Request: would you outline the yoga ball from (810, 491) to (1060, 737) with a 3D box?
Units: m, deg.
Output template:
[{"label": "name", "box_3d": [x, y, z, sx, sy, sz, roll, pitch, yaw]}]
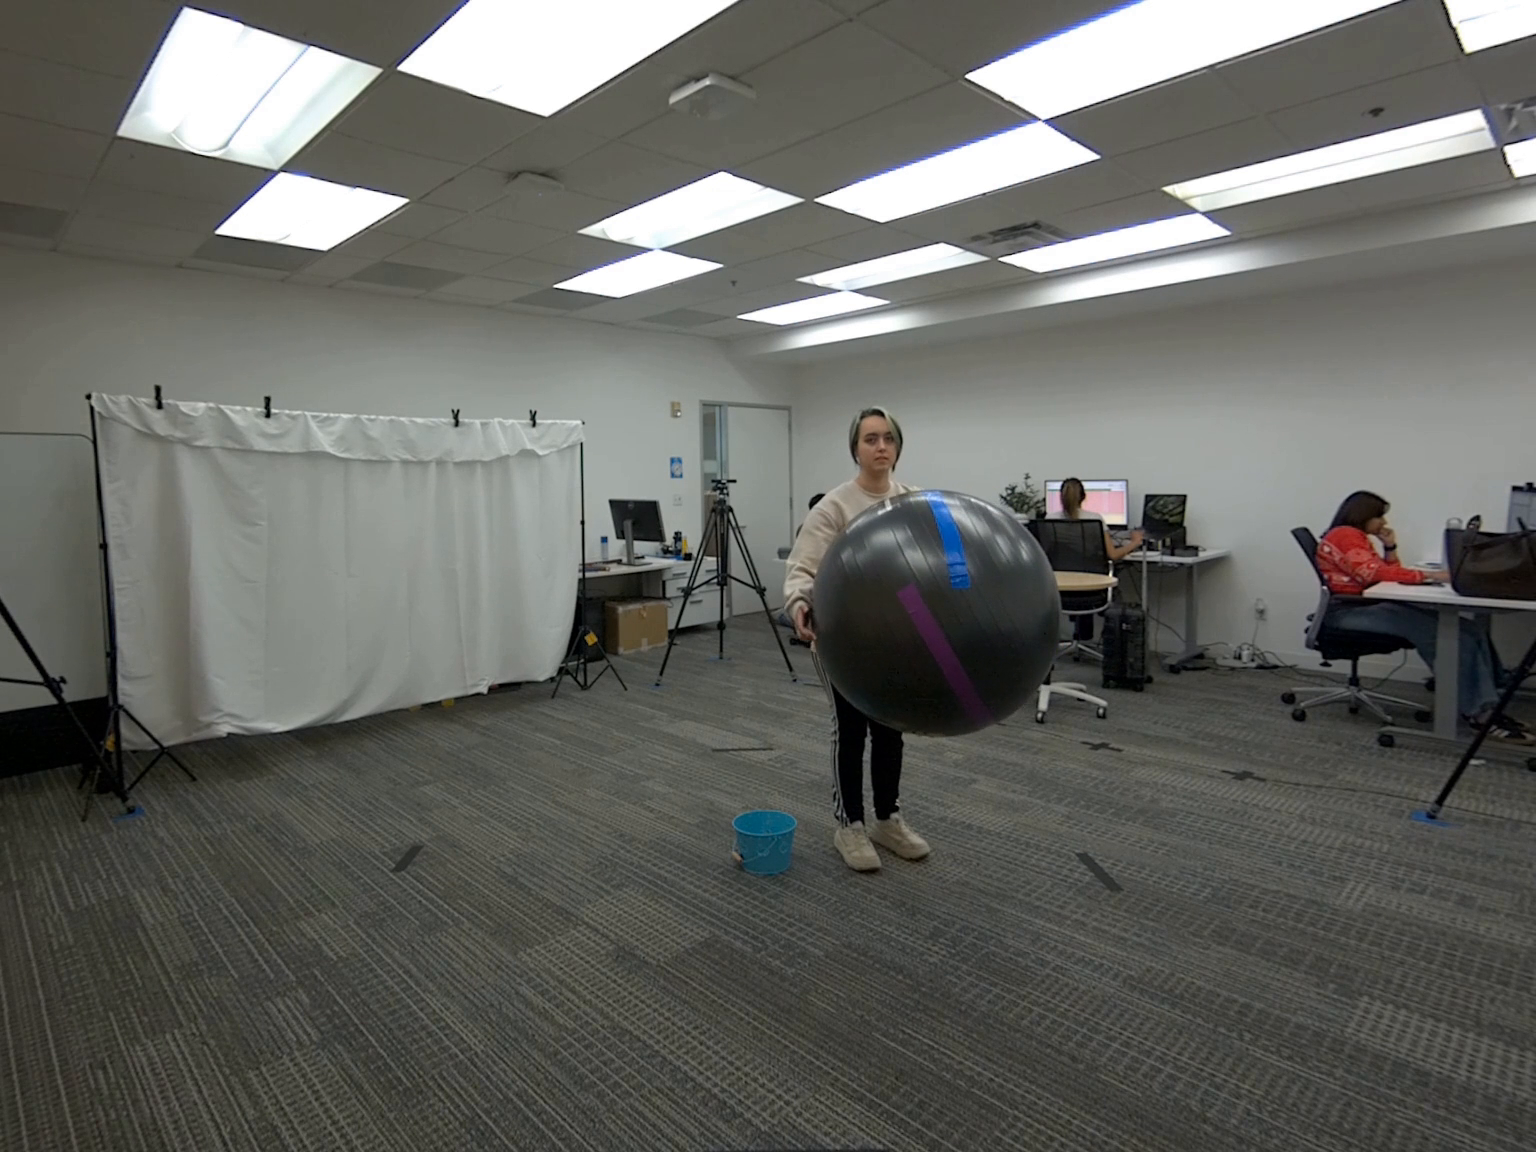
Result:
[{"label": "yoga ball", "box_3d": [0.517, 0.118, 2.654, 0.757, 0.755, 0.762, -1, 5, -2]}]
